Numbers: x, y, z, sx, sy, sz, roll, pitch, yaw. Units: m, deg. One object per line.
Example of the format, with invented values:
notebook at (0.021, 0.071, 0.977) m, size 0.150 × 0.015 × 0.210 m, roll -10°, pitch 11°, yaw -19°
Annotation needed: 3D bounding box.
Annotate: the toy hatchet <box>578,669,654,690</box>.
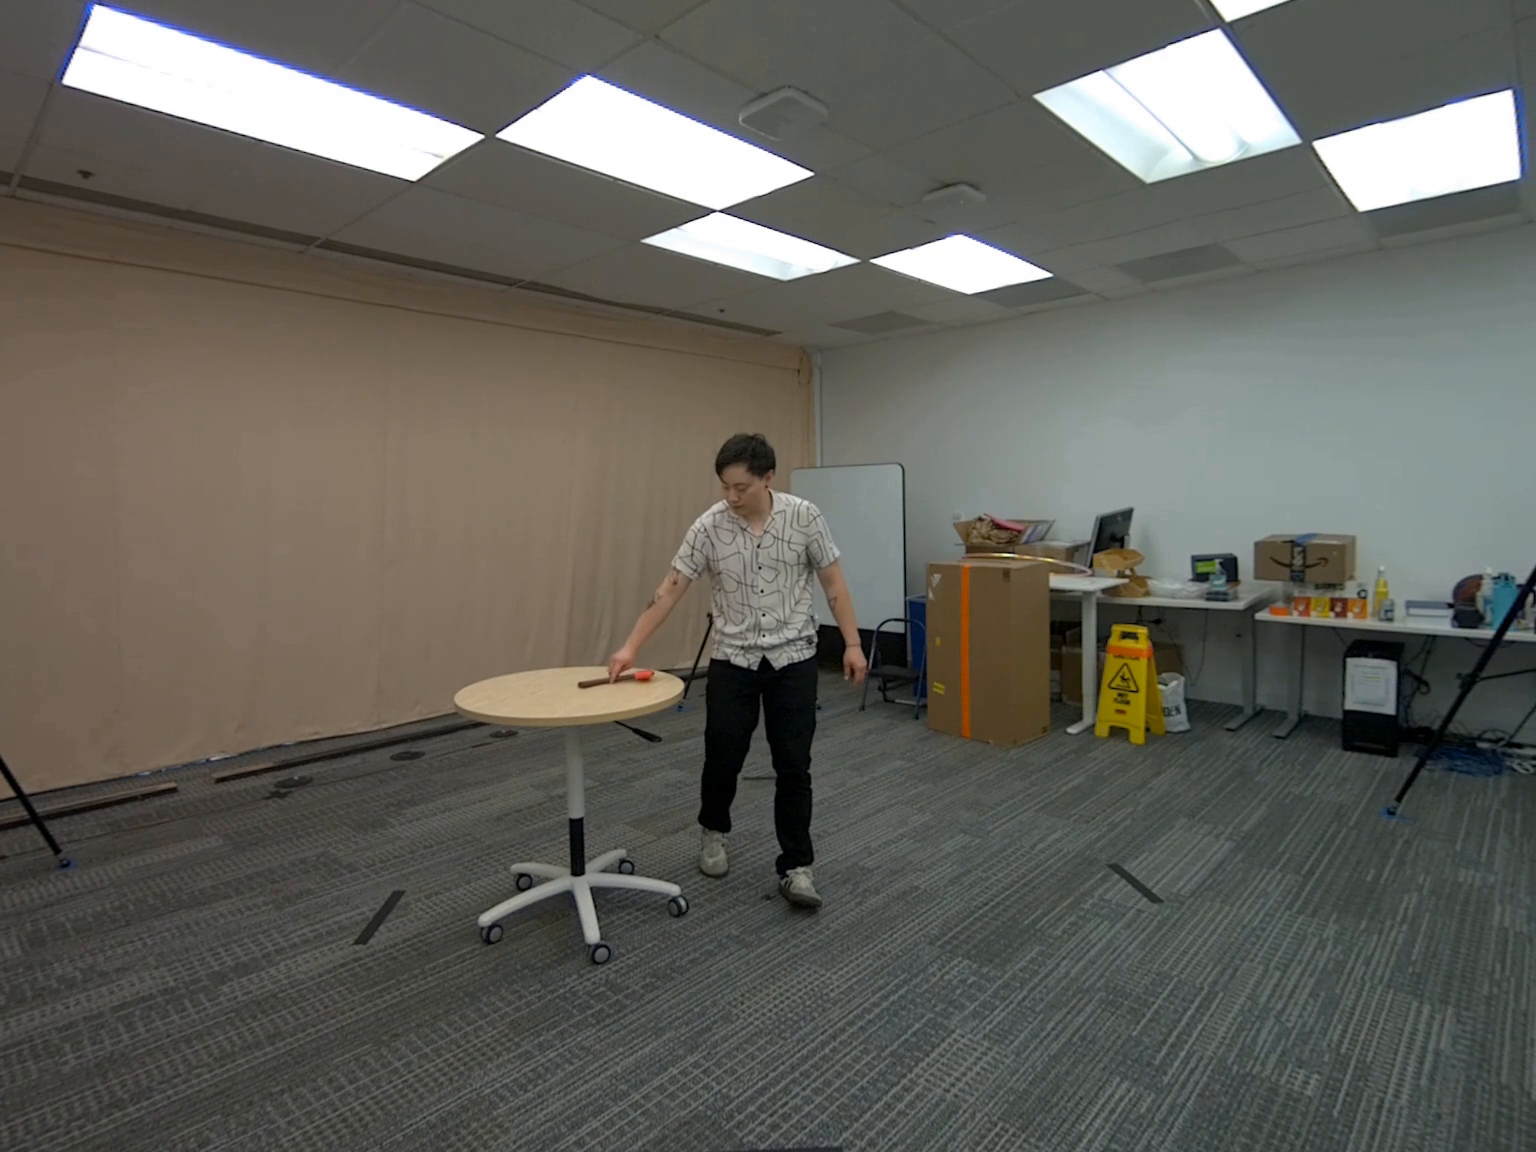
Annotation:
toy hatchet at (-0.519, 0.359, 2.912) m, size 0.262 × 0.030 × 0.134 m, roll -6°, pitch -4°, yaw -38°
